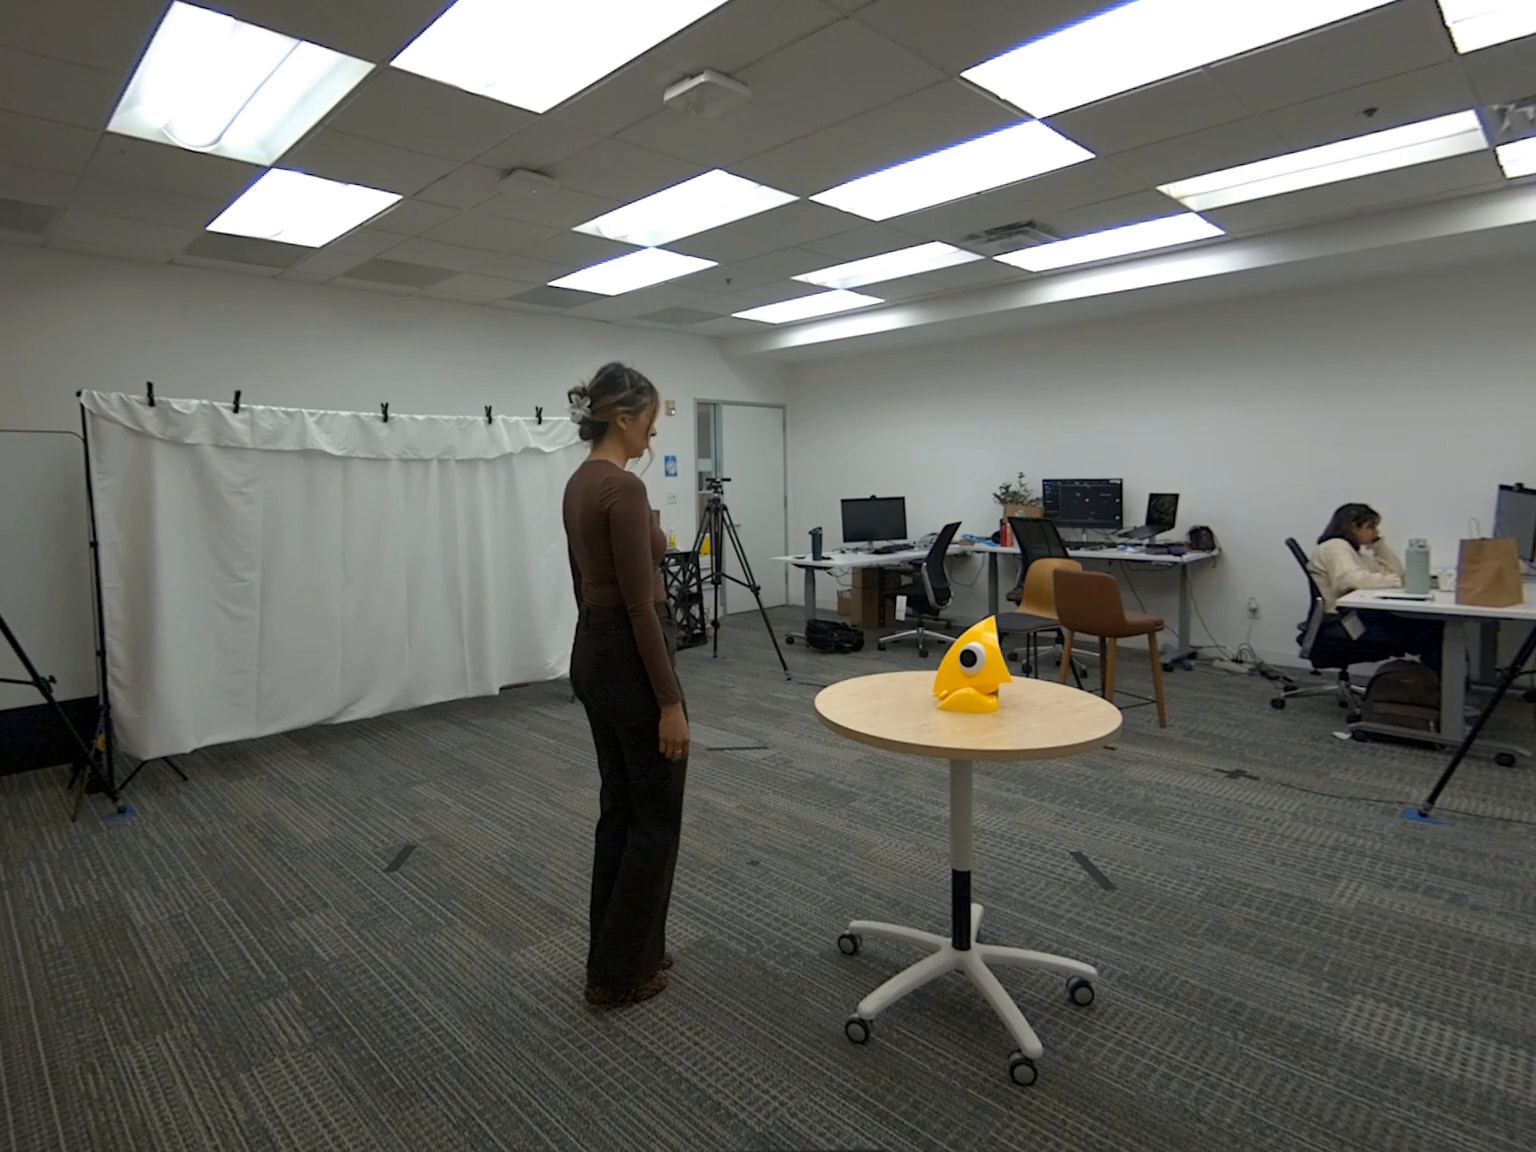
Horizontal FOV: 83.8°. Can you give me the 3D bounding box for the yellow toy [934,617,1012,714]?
[{"bbox_3d":[0.532,0.219,2.240,0.194,0.230,0.204,-1,4,6],"label":"yellow toy"}]
